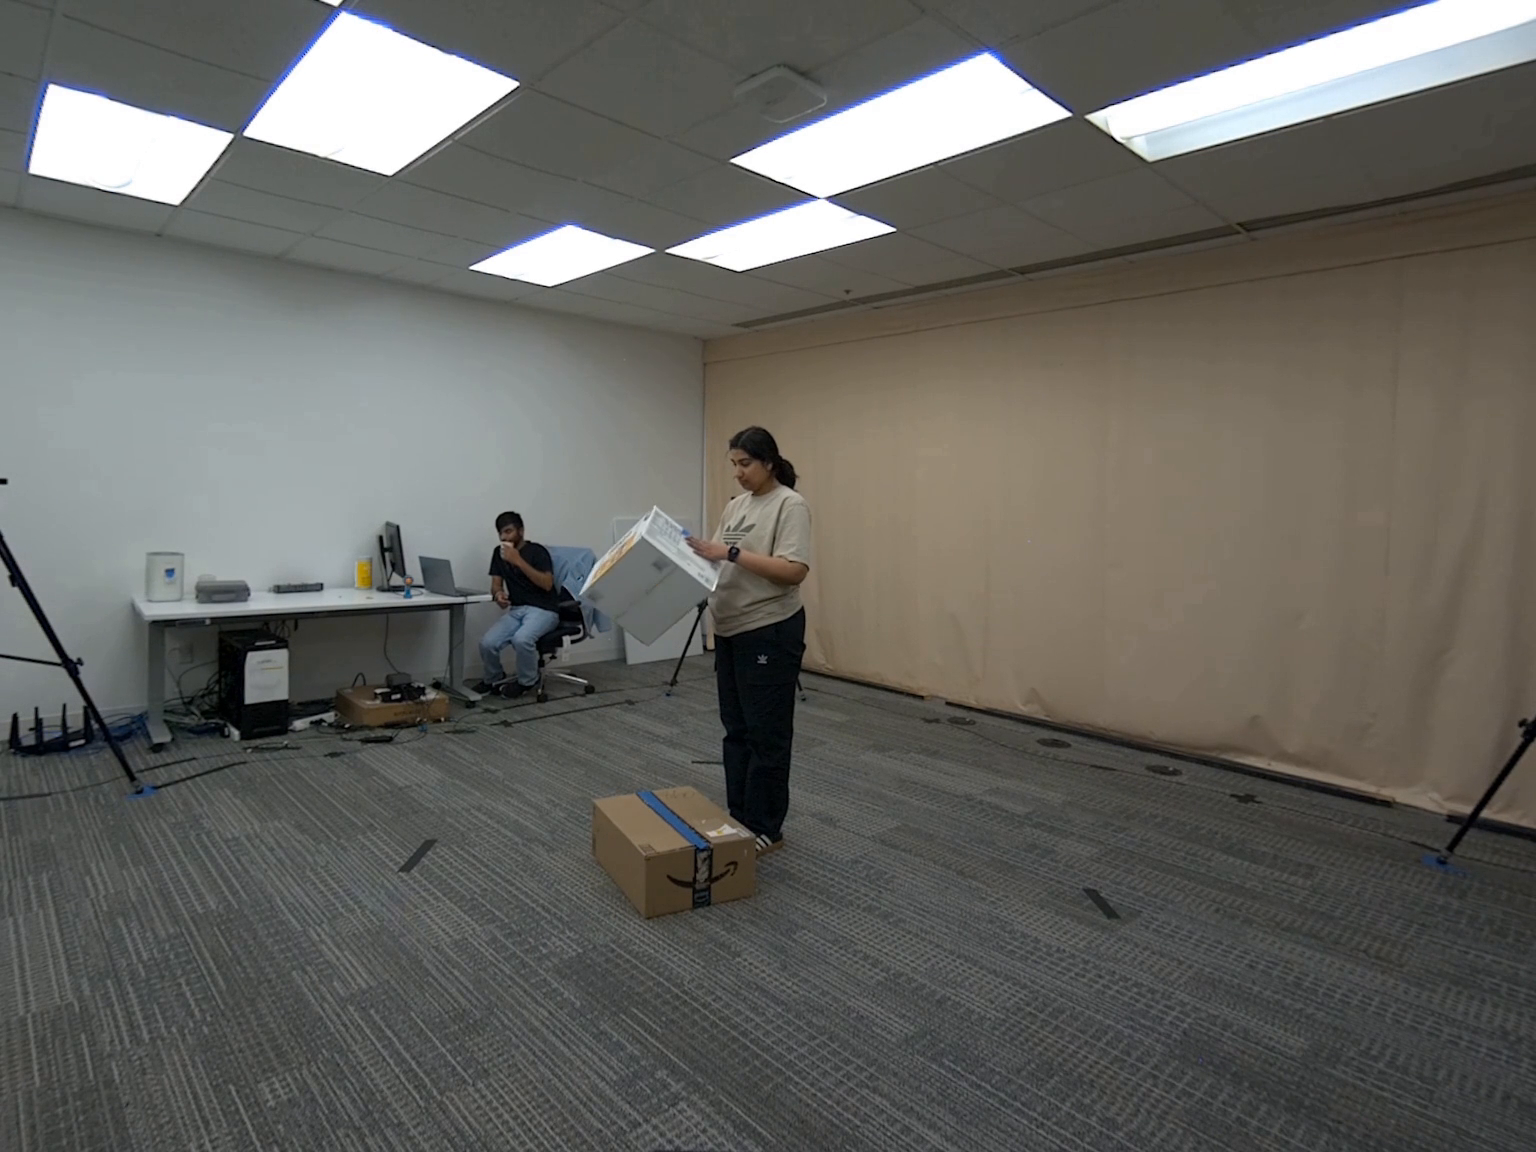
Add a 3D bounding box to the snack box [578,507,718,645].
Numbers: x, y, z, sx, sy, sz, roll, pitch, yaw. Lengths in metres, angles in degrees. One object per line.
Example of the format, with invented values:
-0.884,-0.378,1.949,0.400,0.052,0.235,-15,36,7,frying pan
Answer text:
-0.439,0.008,3.171,0.406,0.334,0.208,-40,20,31,snack box
